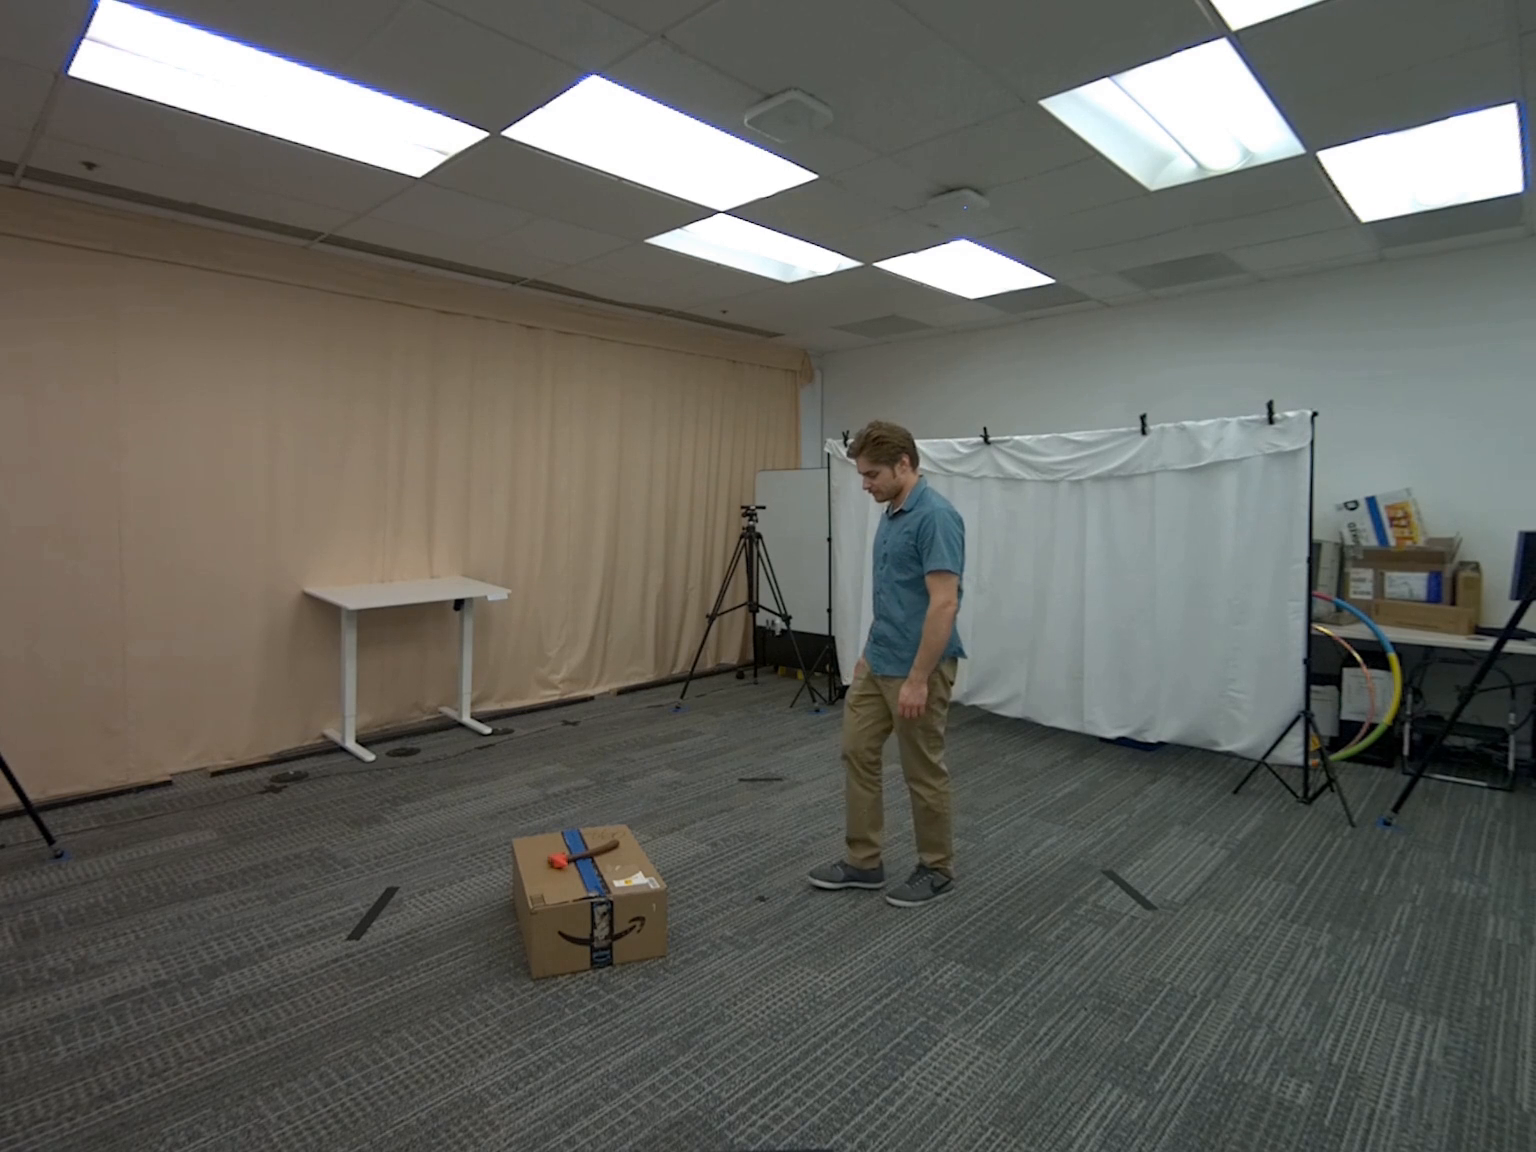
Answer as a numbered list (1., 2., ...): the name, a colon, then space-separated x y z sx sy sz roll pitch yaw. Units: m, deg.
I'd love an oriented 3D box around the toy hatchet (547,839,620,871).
1. toy hatchet: -0.633 0.932 2.846 0.135 0.029 0.262 -5 -2 34
